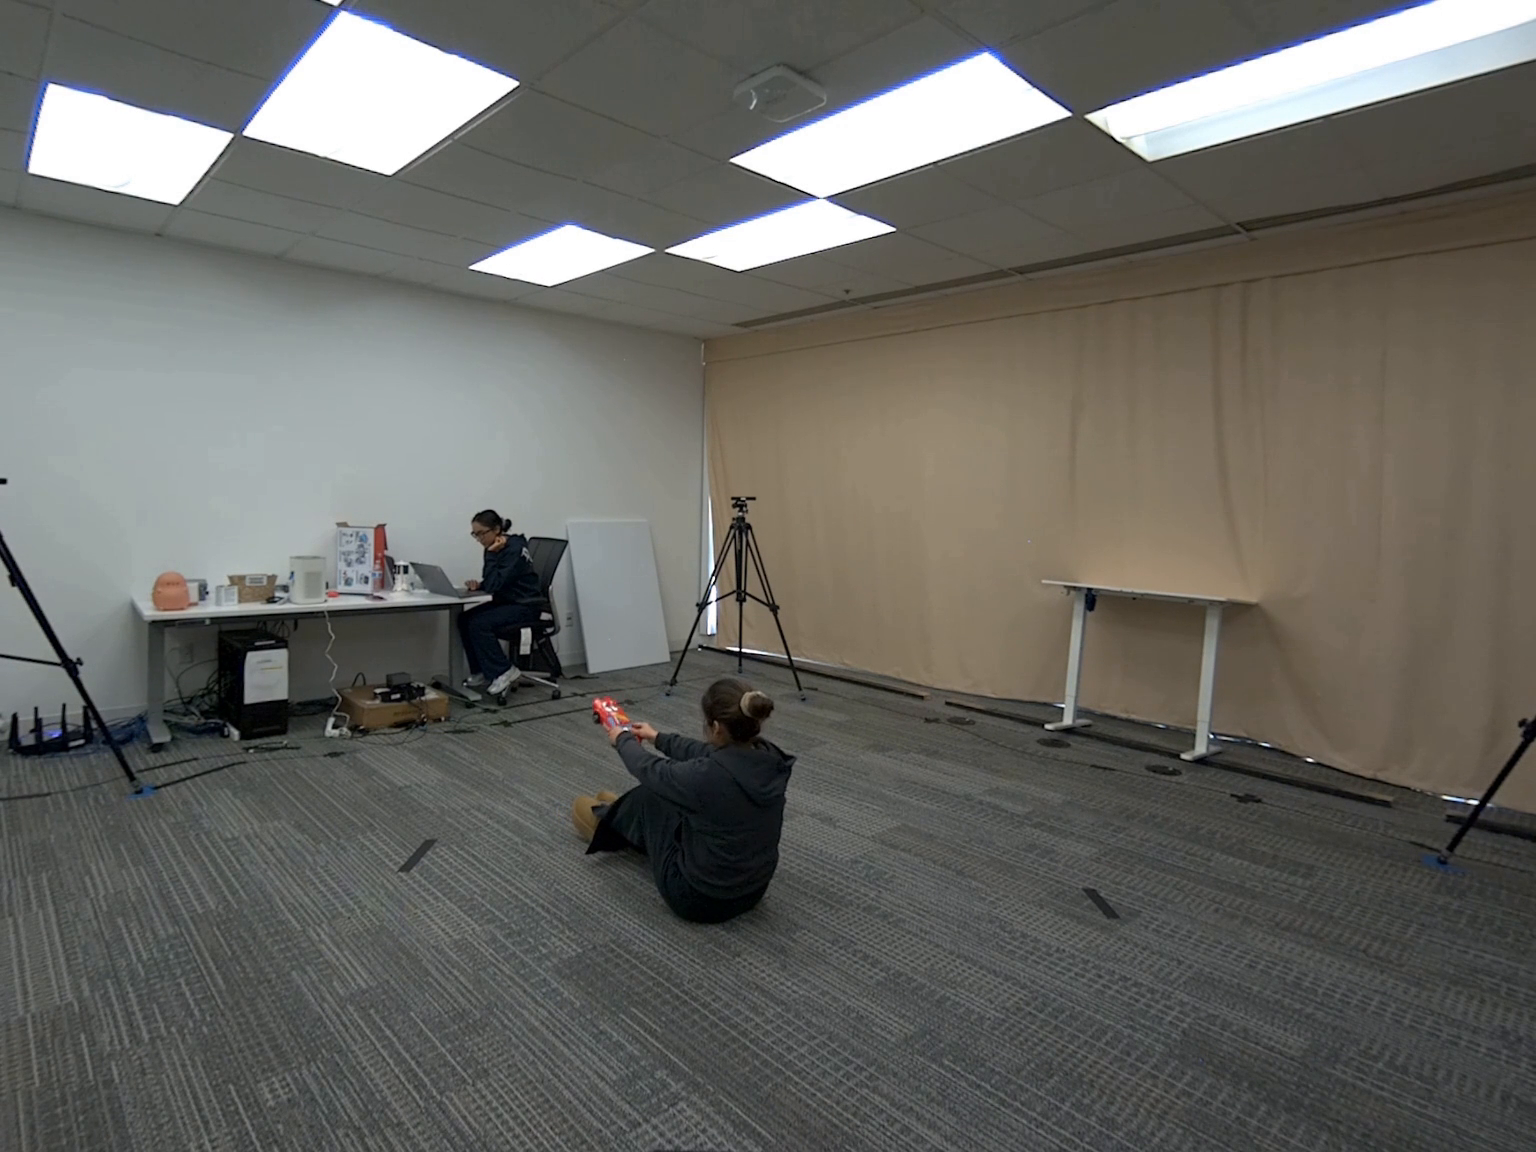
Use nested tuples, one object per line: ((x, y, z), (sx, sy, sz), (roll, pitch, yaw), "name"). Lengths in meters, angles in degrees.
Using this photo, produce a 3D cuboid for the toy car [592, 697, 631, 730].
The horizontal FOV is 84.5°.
((-0.590, 0.568, 3.218), (0.127, 0.083, 0.261), (1, 47, -46), "toy car")
